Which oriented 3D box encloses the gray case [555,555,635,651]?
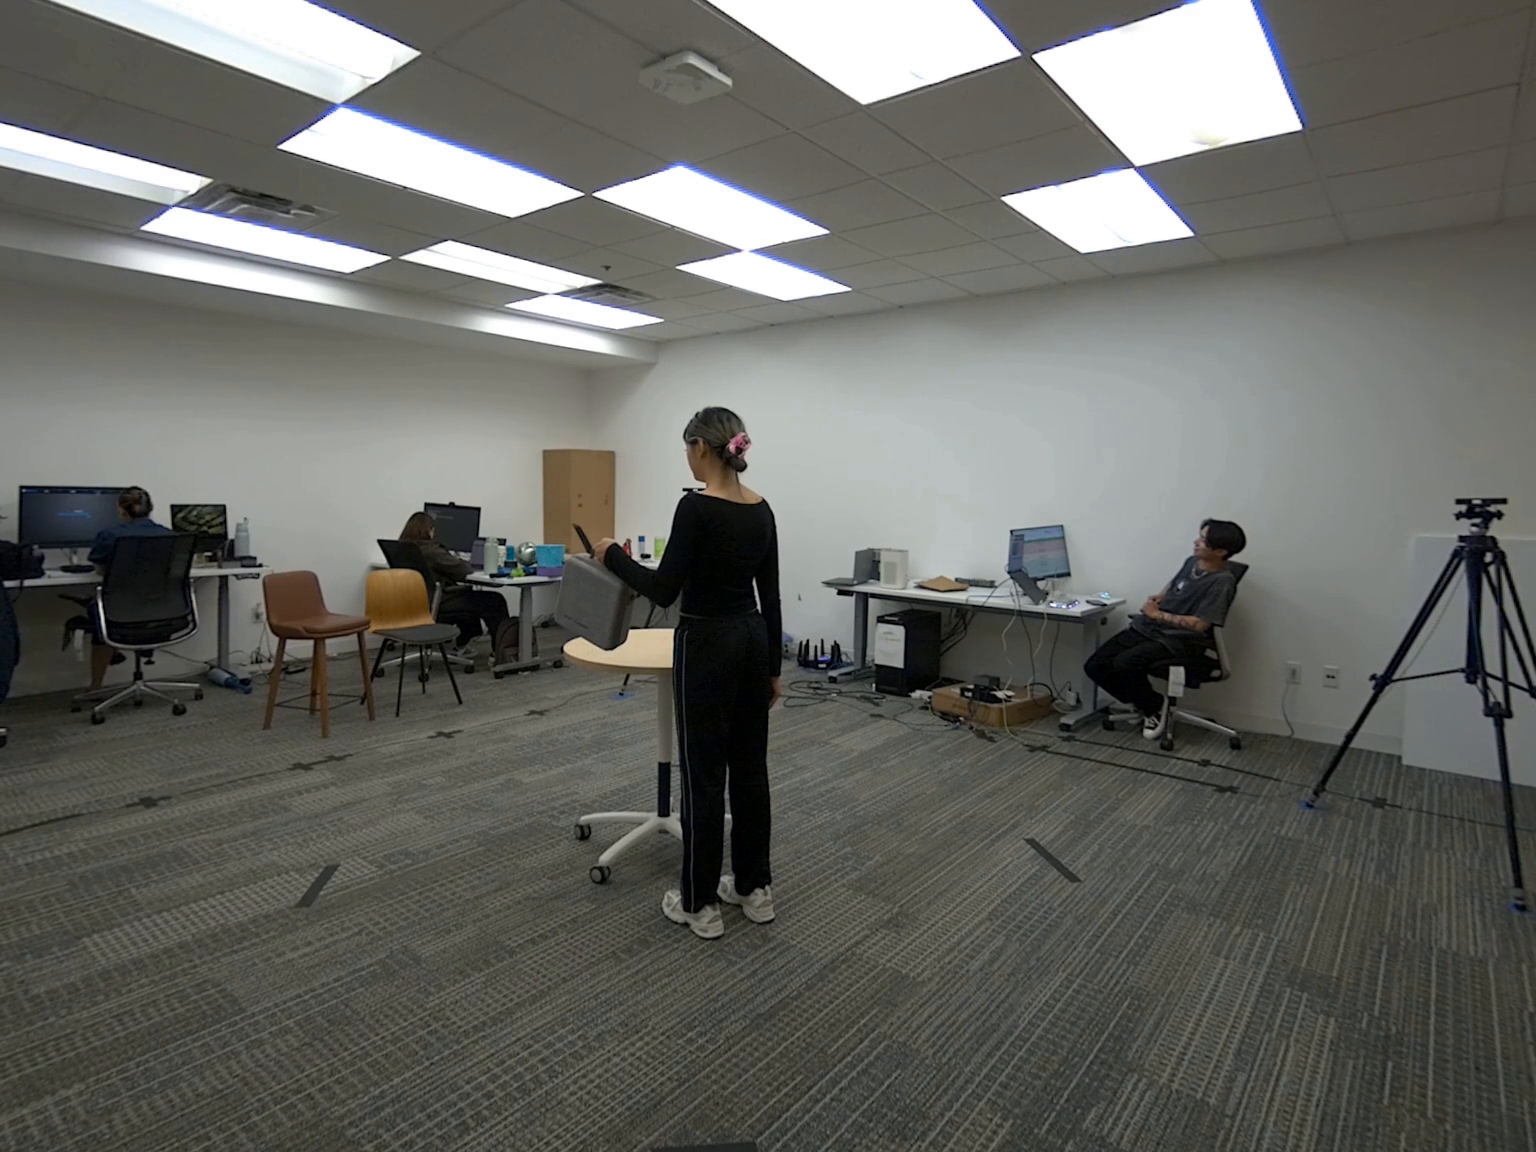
[{"bbox_3d":[-0.575,0.076,2.767,0.266,0.257,0.102,26,21,27],"label":"gray case"}]
